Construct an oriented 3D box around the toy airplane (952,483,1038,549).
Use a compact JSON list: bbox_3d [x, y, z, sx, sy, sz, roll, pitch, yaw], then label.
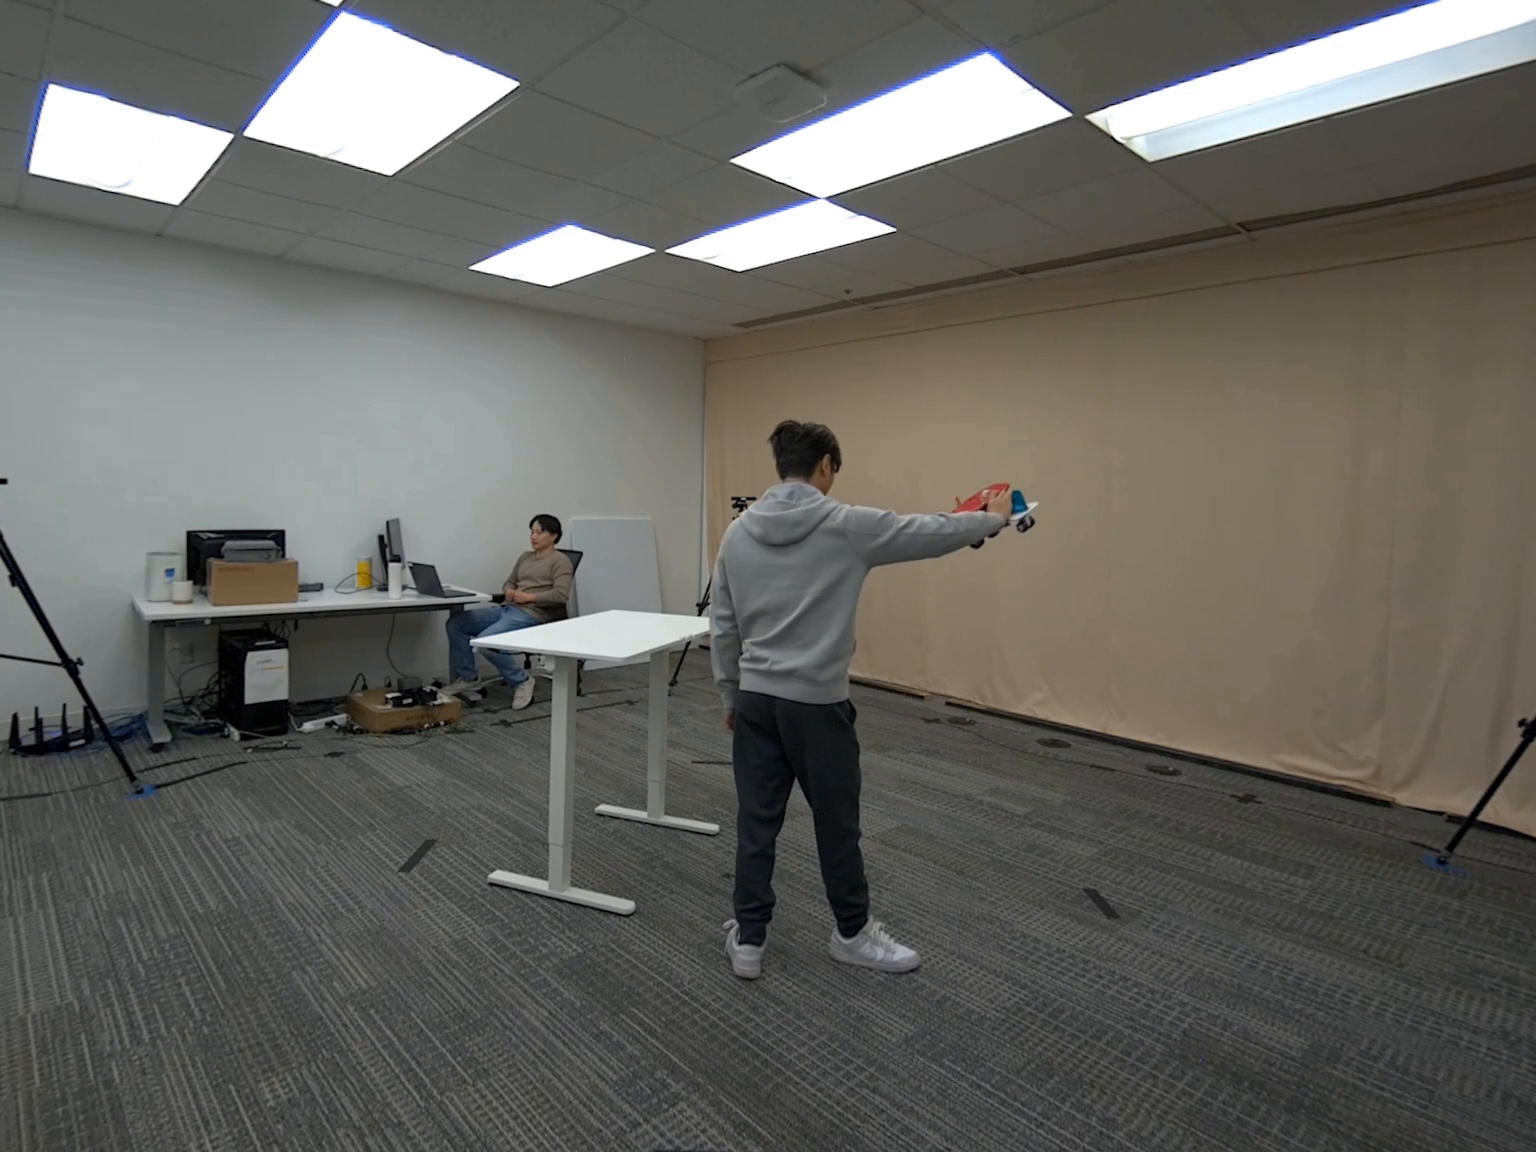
[{"bbox_3d":[0.732,-0.196,2.646,0.261,0.156,0.250,-28,6,33],"label":"toy airplane"}]
